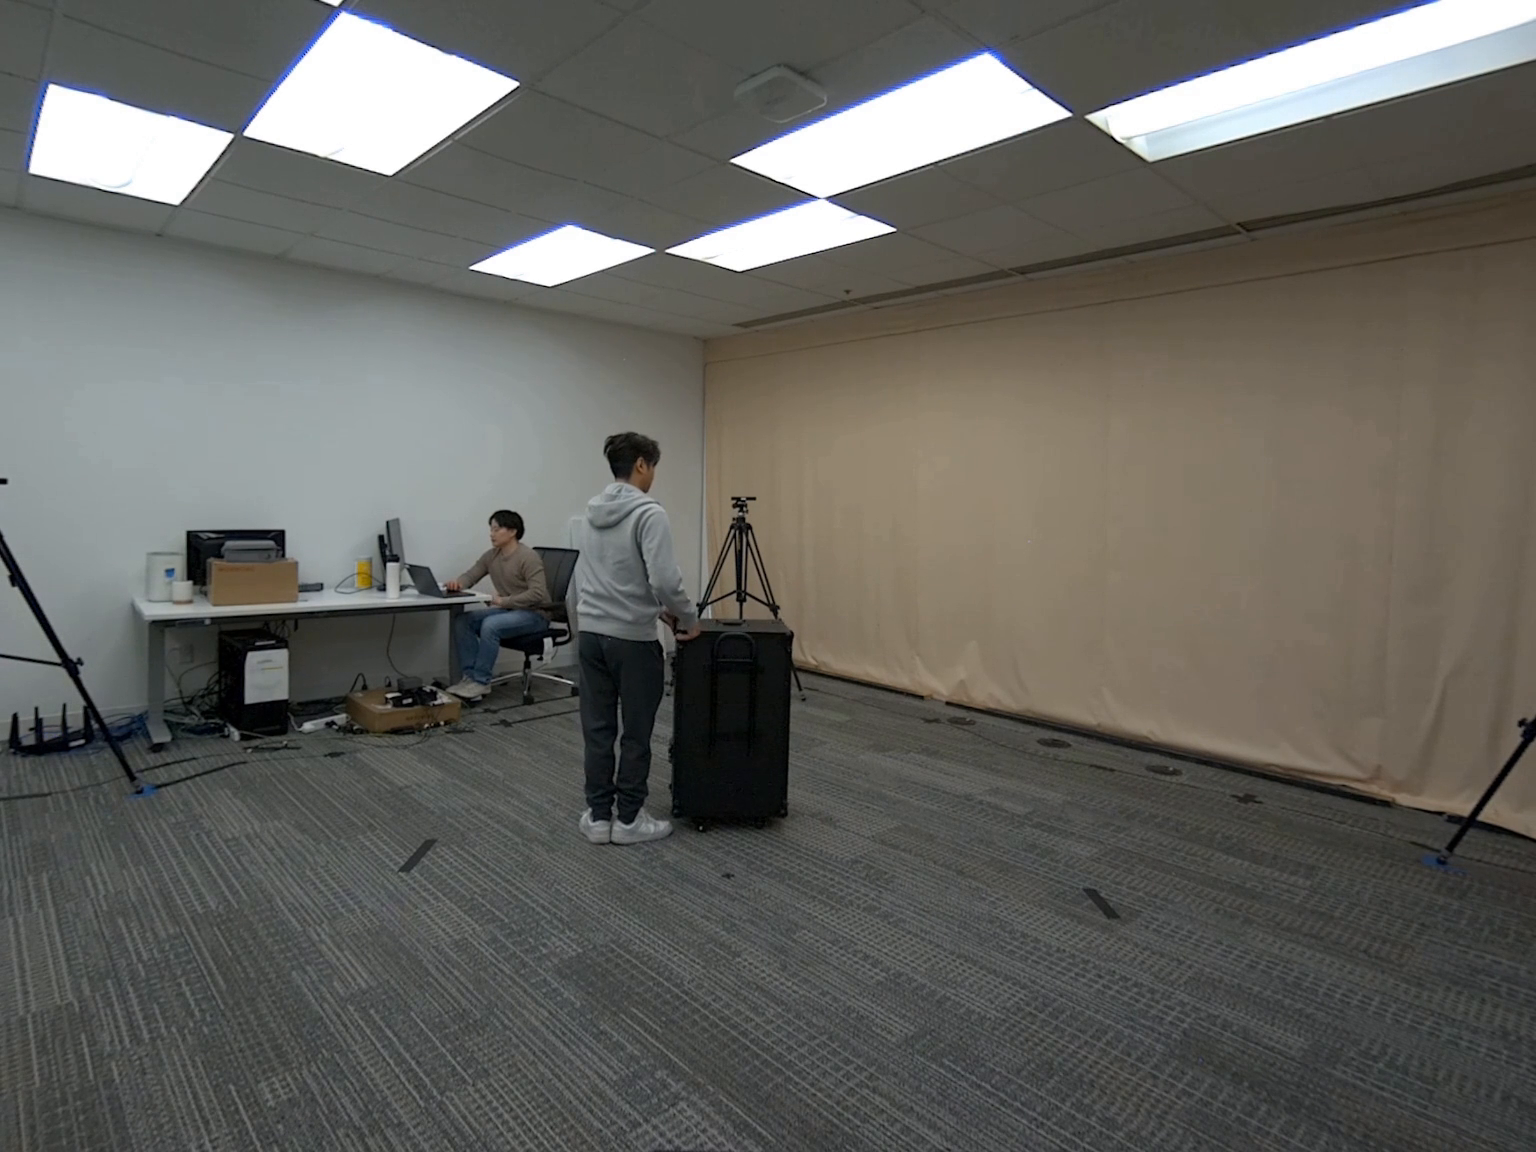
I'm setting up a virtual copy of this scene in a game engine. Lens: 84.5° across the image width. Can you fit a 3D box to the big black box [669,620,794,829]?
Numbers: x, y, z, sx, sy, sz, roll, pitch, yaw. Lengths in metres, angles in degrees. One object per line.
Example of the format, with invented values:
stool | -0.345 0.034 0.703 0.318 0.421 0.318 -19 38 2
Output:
big black box | -0.163 0.637 3.656 0.518 0.859 0.399 1 4 -7
